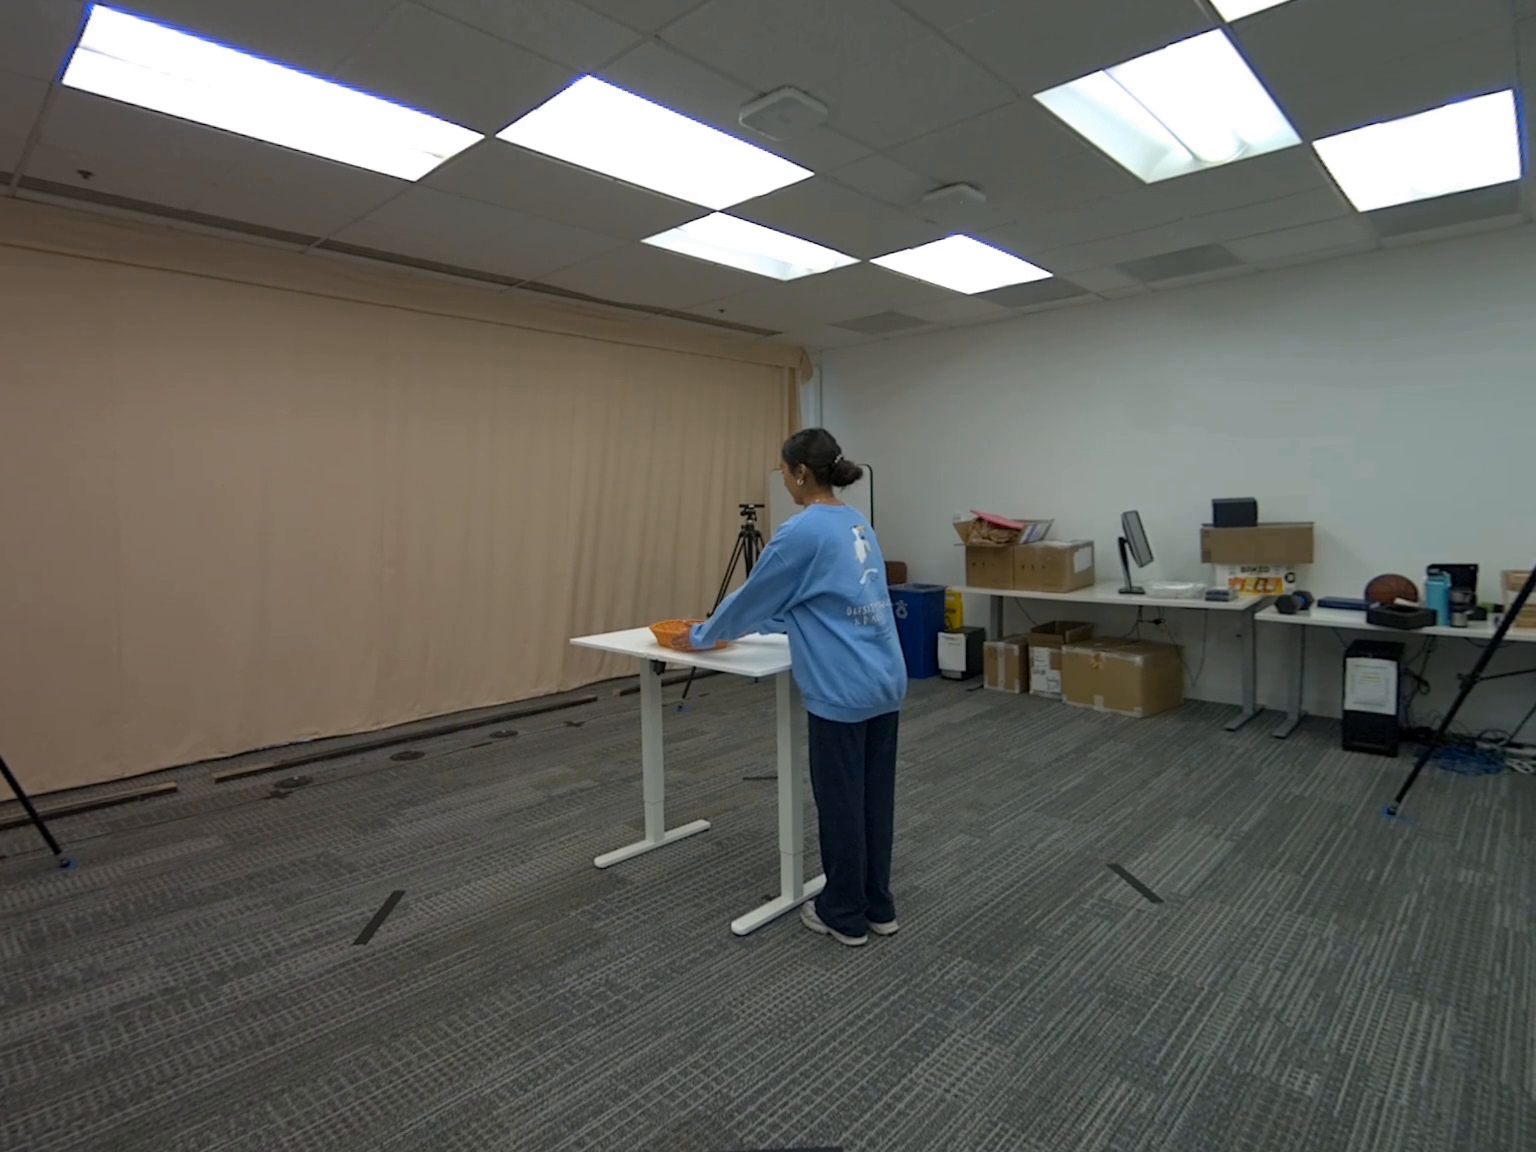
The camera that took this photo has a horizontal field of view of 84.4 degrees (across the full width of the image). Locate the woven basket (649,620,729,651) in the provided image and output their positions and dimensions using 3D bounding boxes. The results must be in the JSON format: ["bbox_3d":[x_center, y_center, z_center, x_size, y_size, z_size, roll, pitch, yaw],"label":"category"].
[{"bbox_3d":[-0.271,0.223,3.077,0.362,0.073,0.245,2,5,40],"label":"woven basket"}]
